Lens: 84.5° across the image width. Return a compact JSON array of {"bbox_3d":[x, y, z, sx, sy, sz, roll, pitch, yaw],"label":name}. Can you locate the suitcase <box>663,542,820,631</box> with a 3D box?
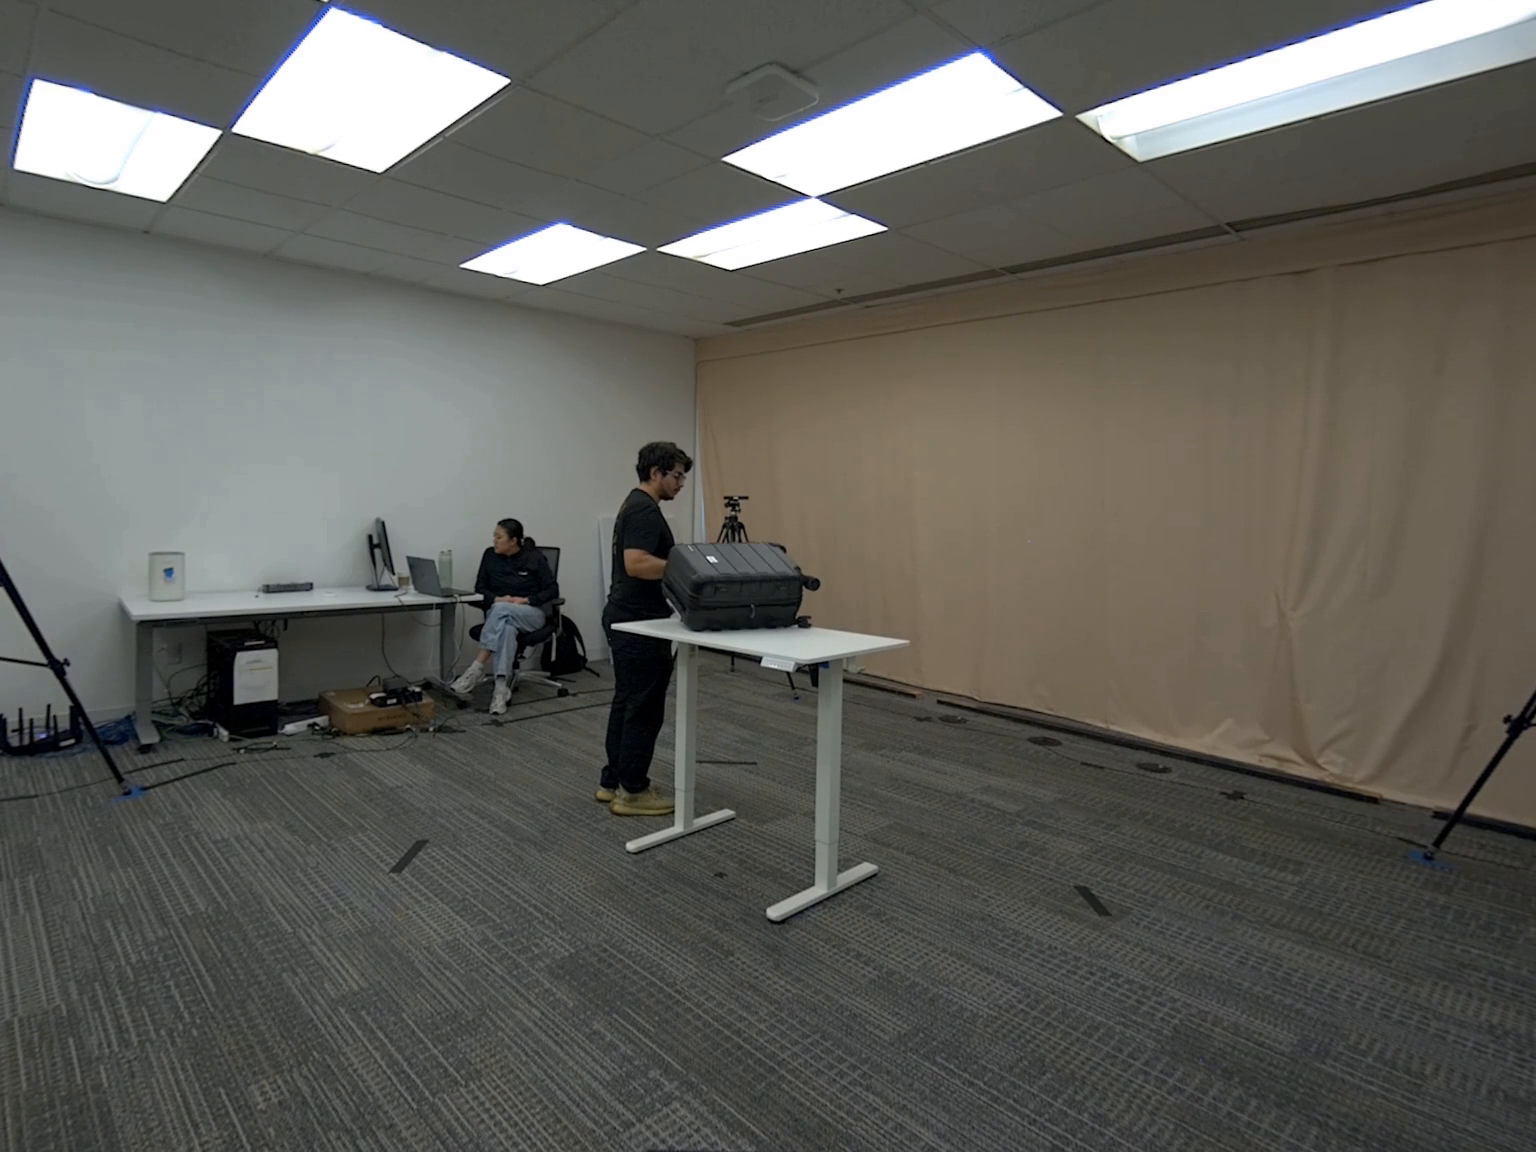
[{"bbox_3d":[-0.131,0.038,3.351,0.539,0.245,0.387,-1,27,-27],"label":"suitcase"}]
